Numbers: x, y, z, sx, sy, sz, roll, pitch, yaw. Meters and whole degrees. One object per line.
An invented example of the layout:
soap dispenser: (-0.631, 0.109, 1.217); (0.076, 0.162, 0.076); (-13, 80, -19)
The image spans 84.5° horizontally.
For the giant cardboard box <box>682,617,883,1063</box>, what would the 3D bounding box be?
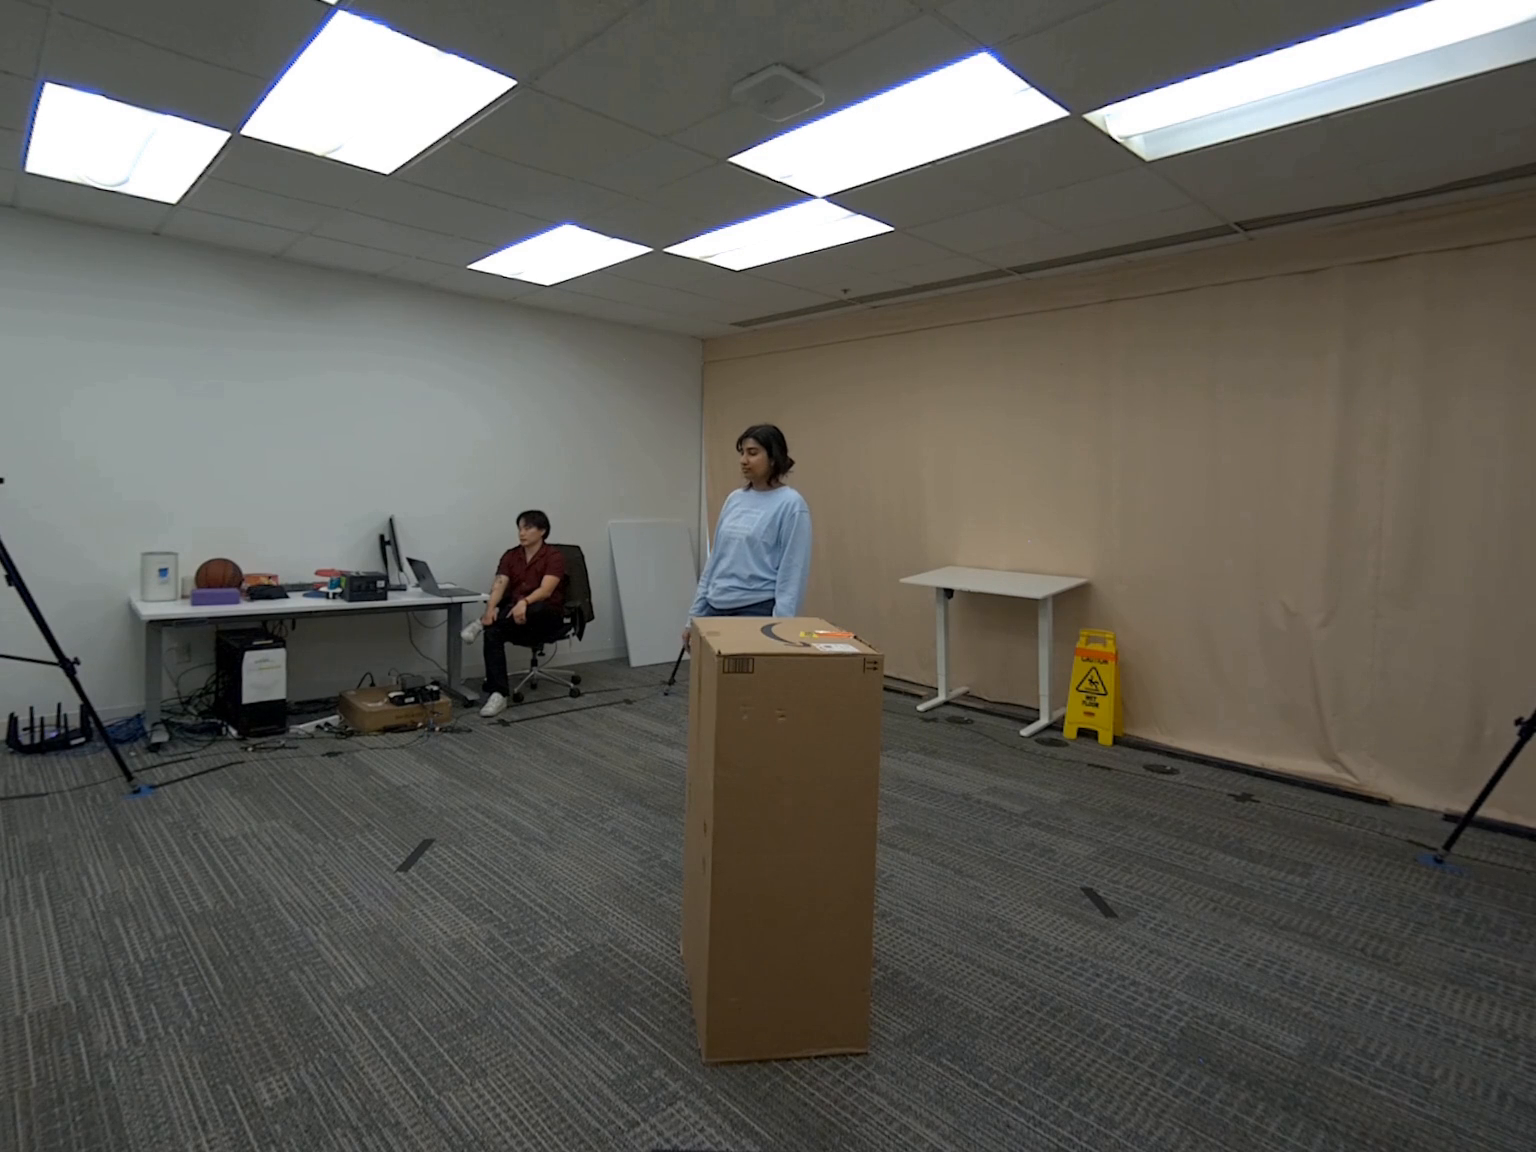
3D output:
giant cardboard box: (0.009, 0.674, 2.340); (0.422, 1.023, 0.584); (1, 4, -12)
